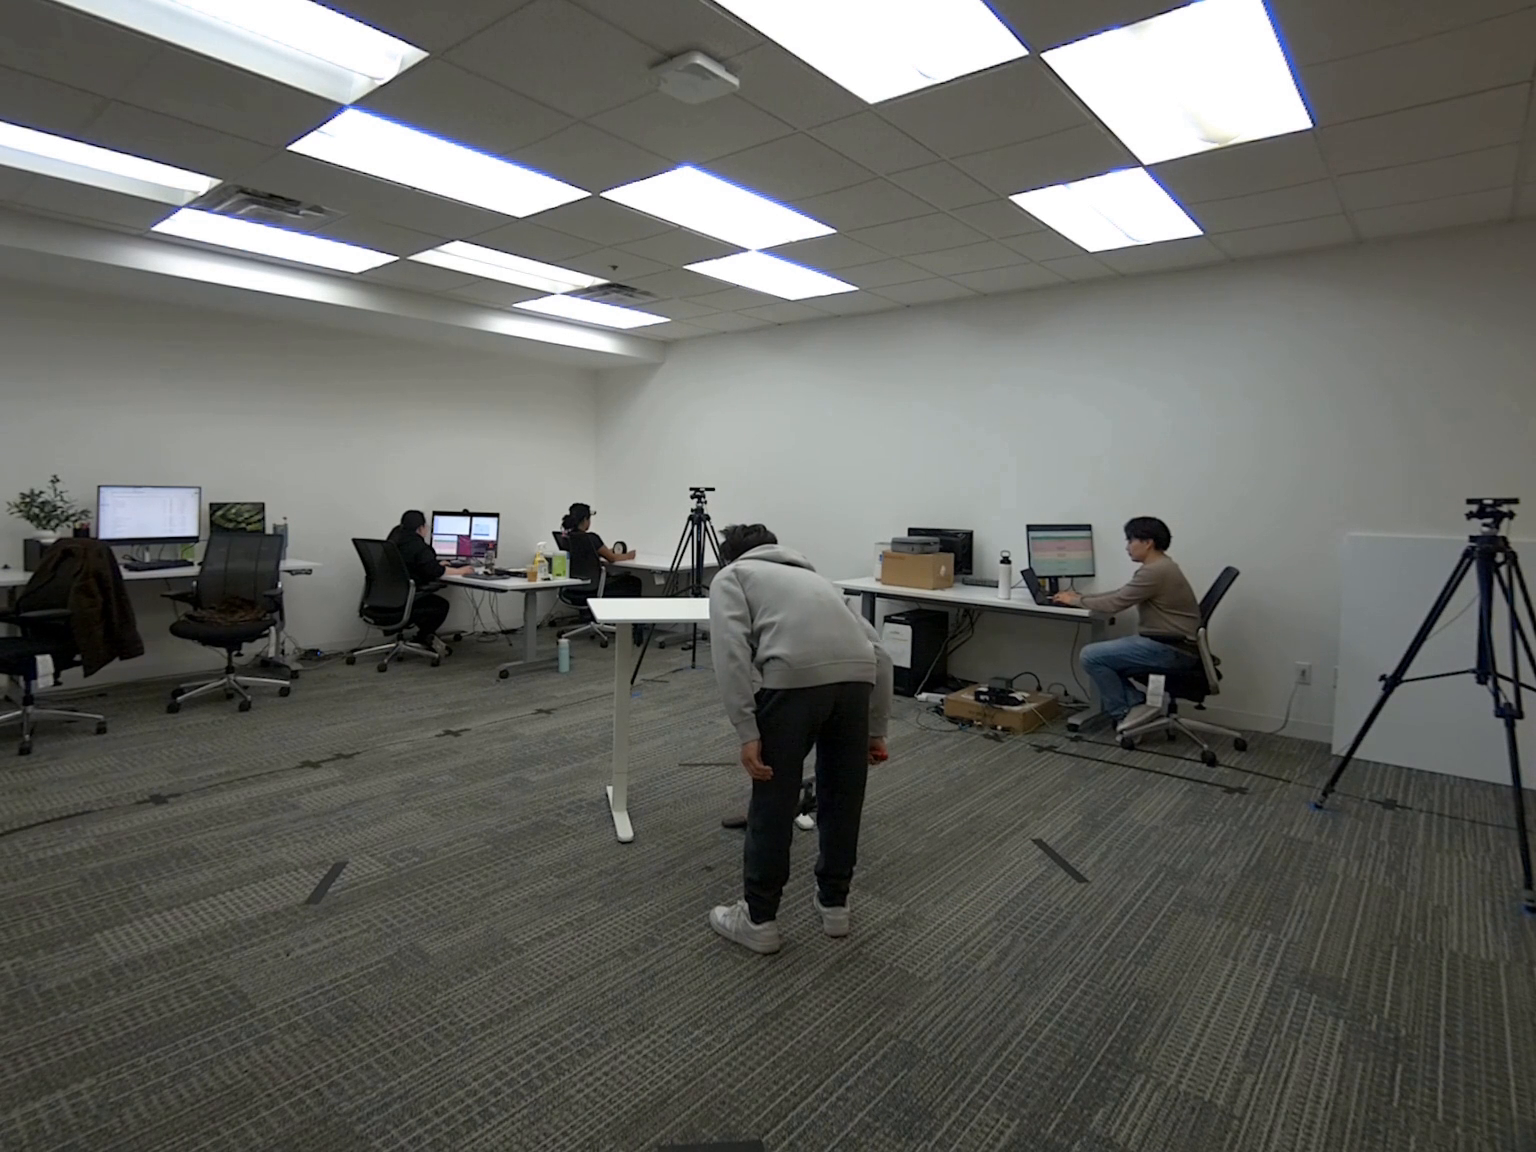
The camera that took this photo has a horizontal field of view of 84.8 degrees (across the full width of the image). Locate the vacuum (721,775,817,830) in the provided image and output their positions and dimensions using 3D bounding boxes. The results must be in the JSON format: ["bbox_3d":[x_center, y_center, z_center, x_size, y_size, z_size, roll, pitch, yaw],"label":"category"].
[{"bbox_3d":[0.137,0.786,3.080,0.247,0.147,1.049,-11,-18,-29],"label":"vacuum"}]
